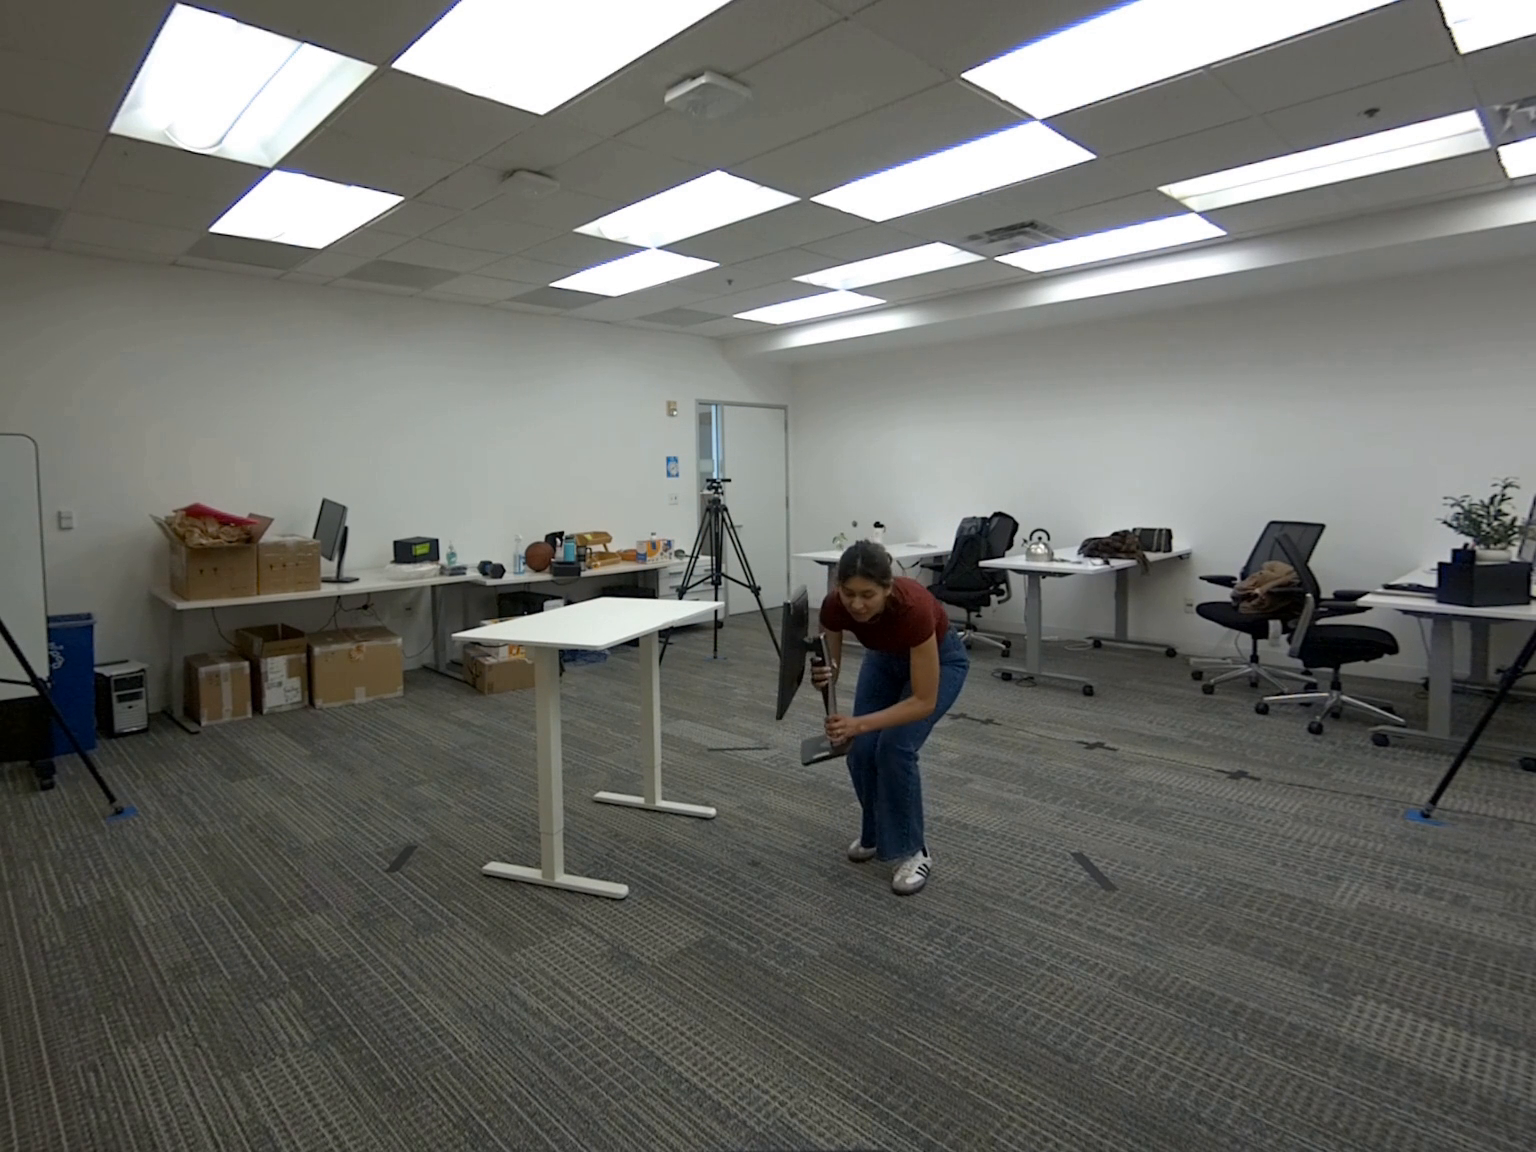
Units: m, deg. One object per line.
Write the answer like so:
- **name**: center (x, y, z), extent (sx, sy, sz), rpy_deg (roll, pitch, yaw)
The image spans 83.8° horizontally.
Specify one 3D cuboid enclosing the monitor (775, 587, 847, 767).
- **monitor**: center (0.136, 0.304, 2.752), extent (0.188, 0.522, 0.536), rpy_deg (-13, 2, 8)
